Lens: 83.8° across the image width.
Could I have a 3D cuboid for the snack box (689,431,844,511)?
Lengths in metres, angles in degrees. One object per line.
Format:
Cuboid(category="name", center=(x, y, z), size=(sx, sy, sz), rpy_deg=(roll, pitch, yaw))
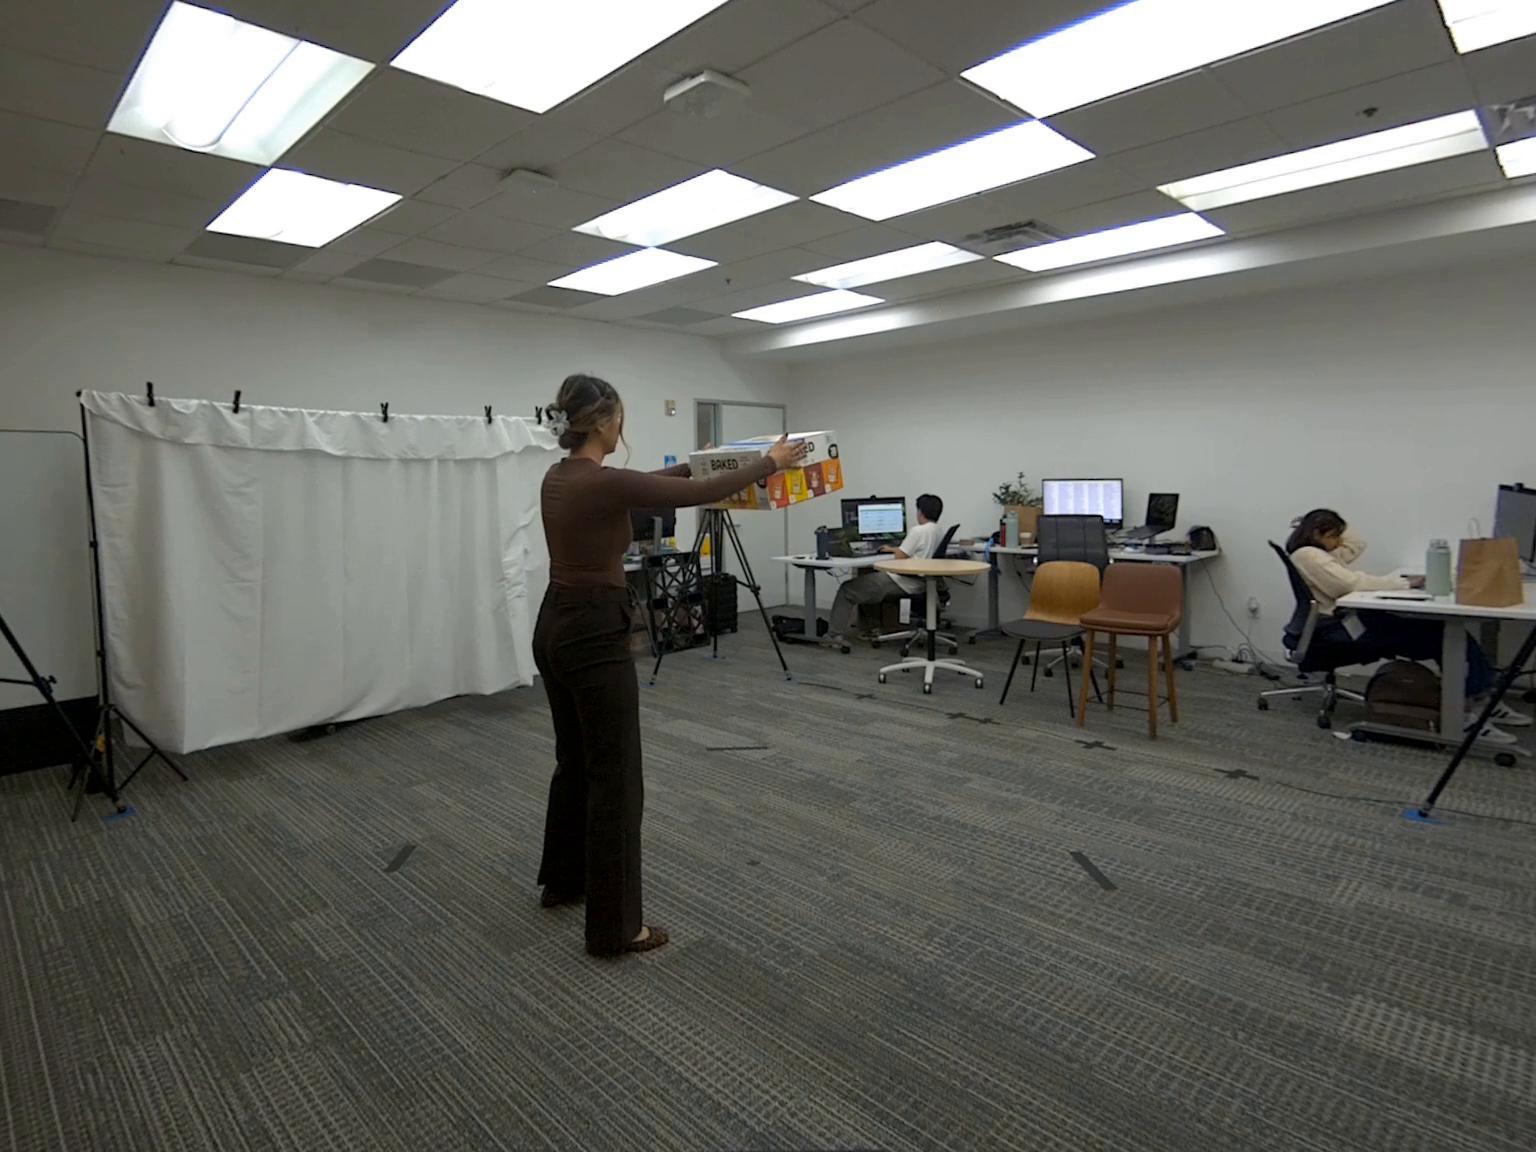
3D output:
Cuboid(category="snack box", center=(-0.015, -0.364, 3.000), size=(0.334, 0.203, 0.417), rpy_deg=(-19, 15, -36))
